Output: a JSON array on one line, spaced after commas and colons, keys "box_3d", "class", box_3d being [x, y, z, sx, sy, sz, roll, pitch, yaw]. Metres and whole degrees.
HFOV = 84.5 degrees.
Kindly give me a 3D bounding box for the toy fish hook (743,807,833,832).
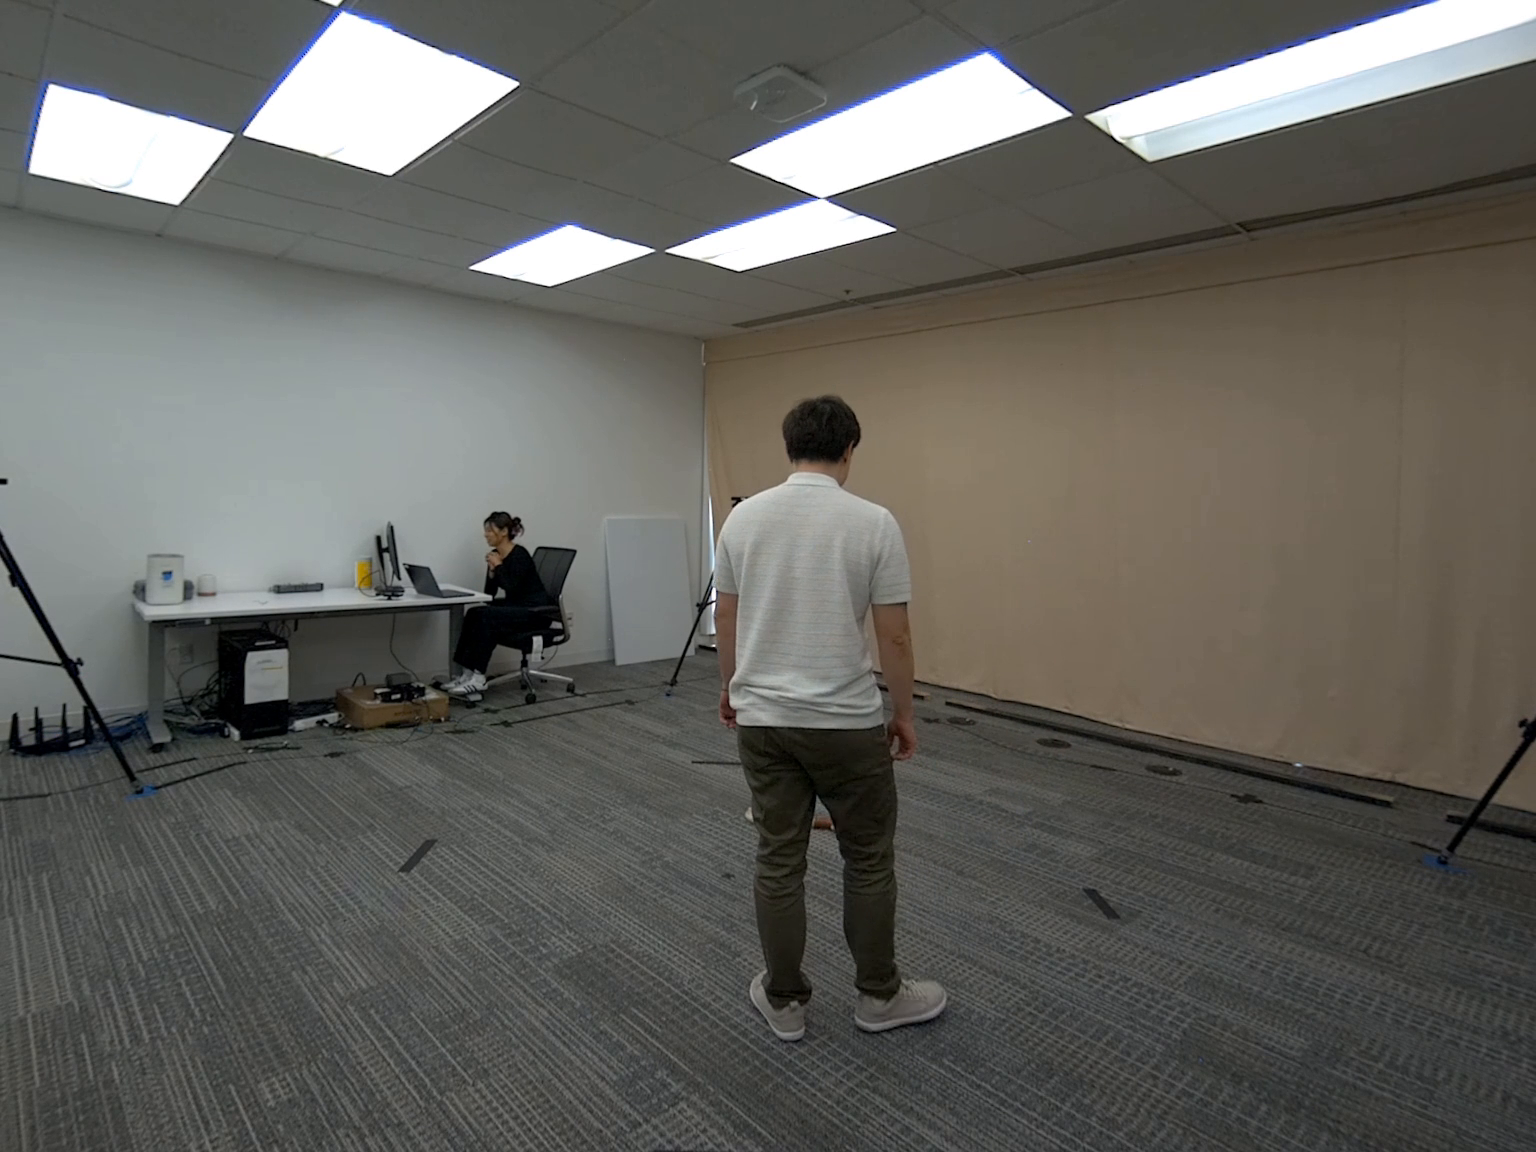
[{"box_3d": [0.152, 1.046, 3.643, 0.512, 0.048, 0.223, 3, 7, 14], "class": "toy fish hook"}]
